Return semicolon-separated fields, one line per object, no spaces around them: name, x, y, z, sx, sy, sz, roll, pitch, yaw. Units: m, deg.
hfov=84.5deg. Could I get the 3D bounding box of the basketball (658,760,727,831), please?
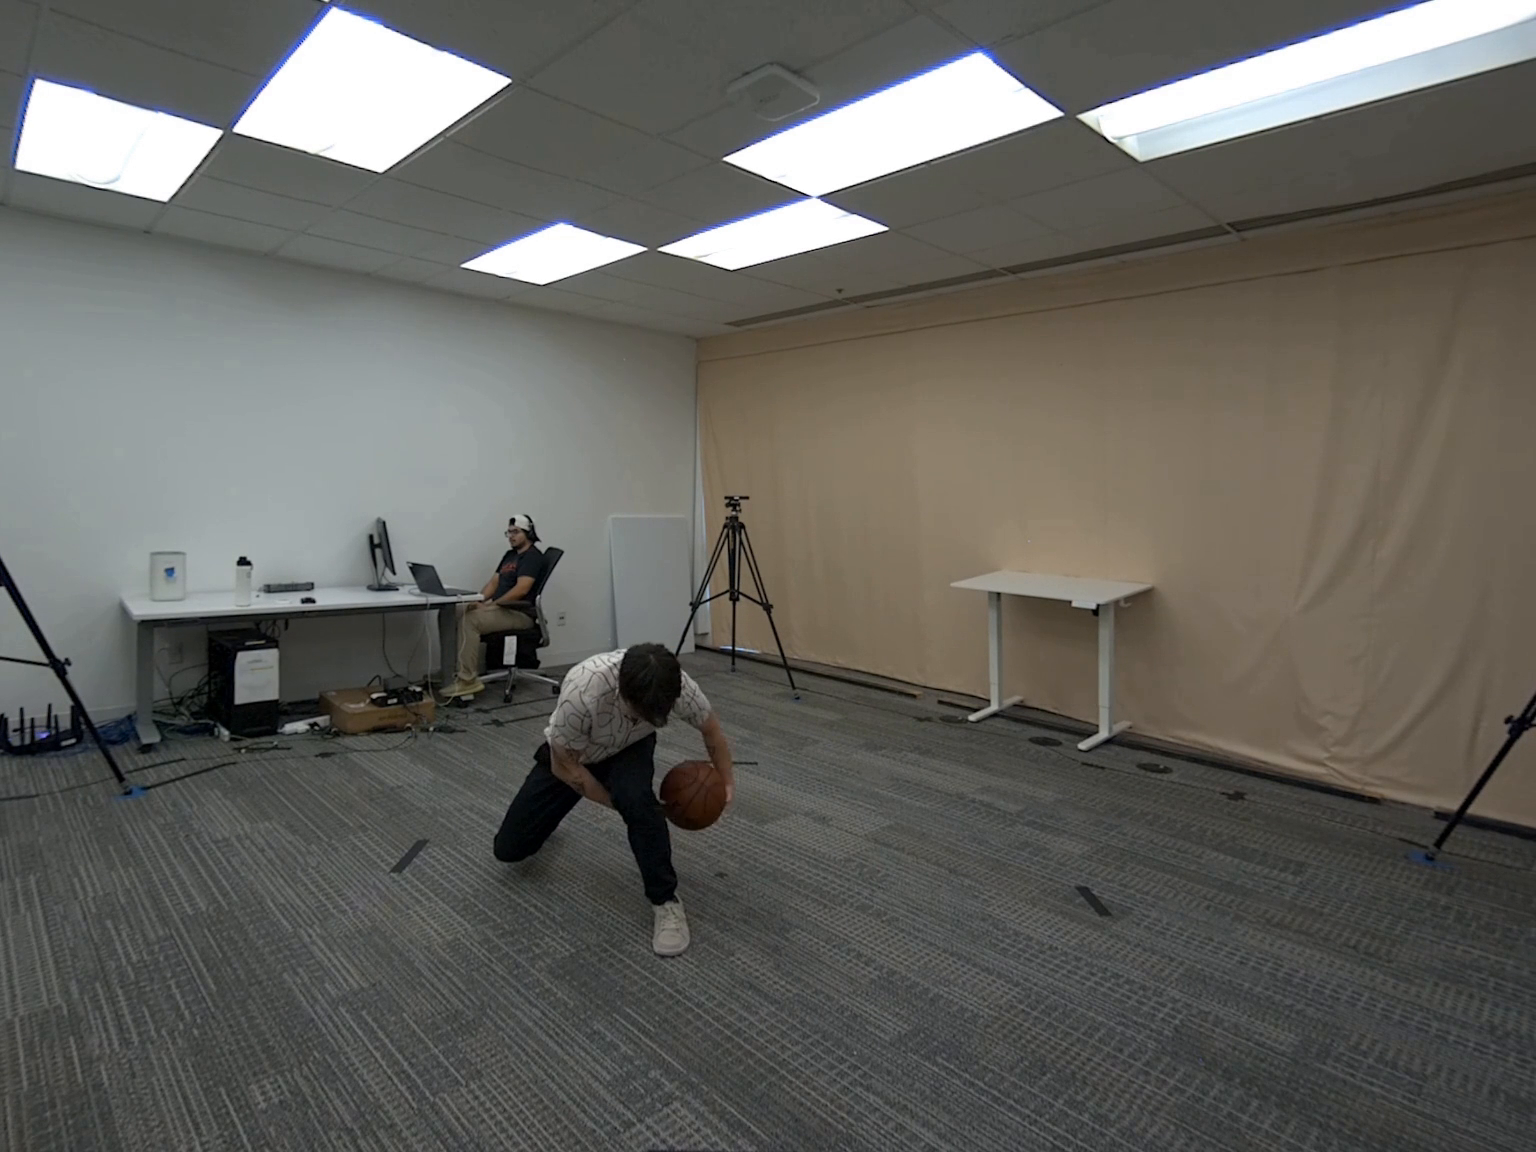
basketball;-0.287;0.775;2.963;0.236;0.235;0.237;1;4;-1
